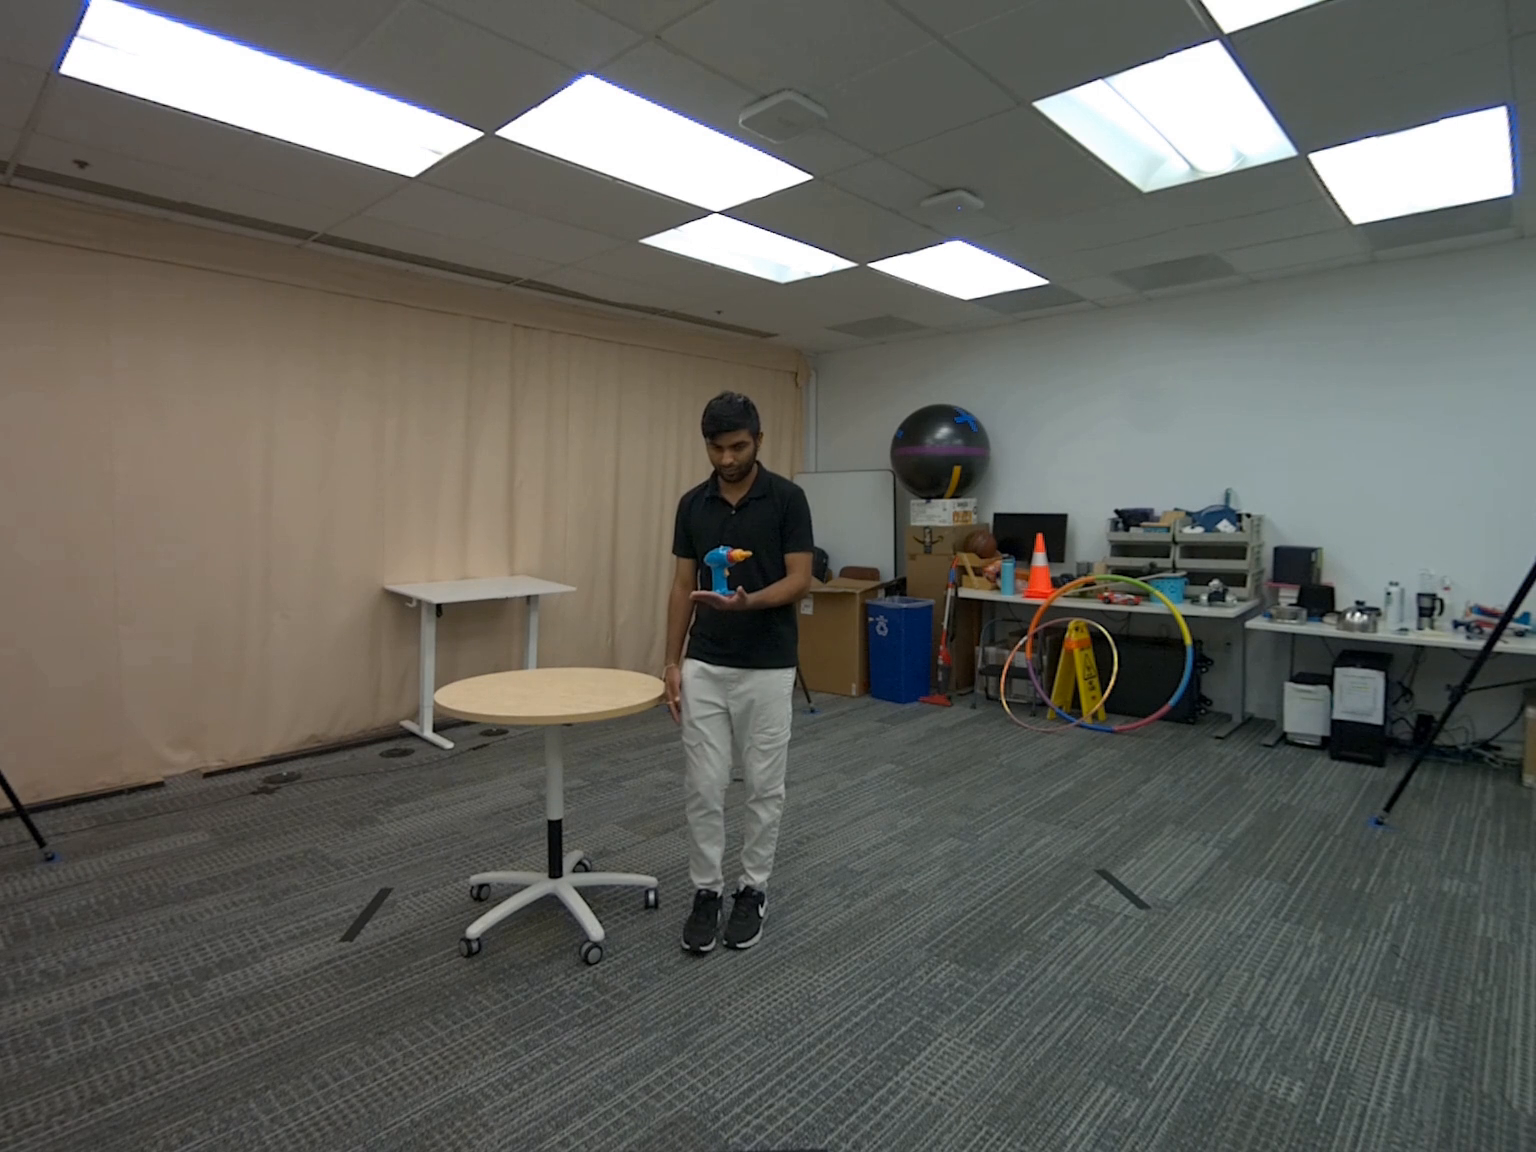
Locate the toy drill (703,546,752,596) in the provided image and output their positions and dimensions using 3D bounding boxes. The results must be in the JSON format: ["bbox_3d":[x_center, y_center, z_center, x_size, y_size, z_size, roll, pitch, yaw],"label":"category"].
[{"bbox_3d":[-0.103,-0.015,2.406,0.174,0.146,0.059,-10,-5,39],"label":"toy drill"}]
